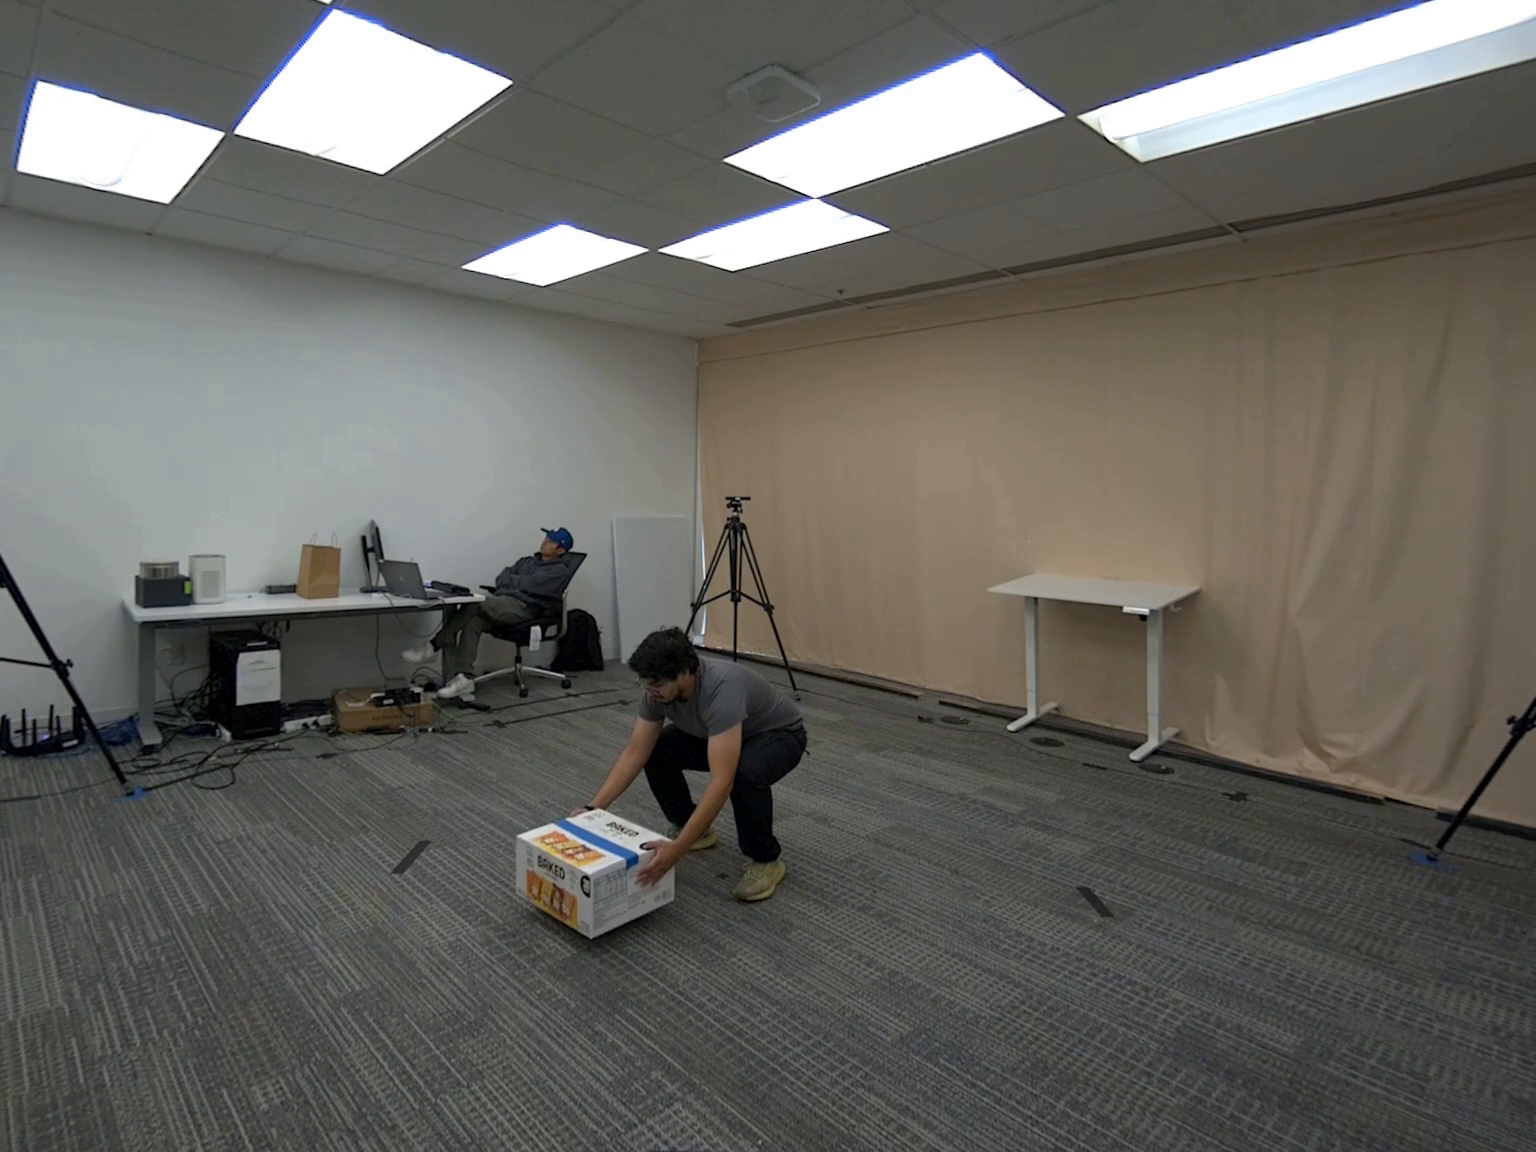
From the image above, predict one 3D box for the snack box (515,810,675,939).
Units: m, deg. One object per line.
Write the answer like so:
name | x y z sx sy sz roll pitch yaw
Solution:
snack box | -0.577 0.963 2.758 0.415 0.205 0.333 6 8 42
